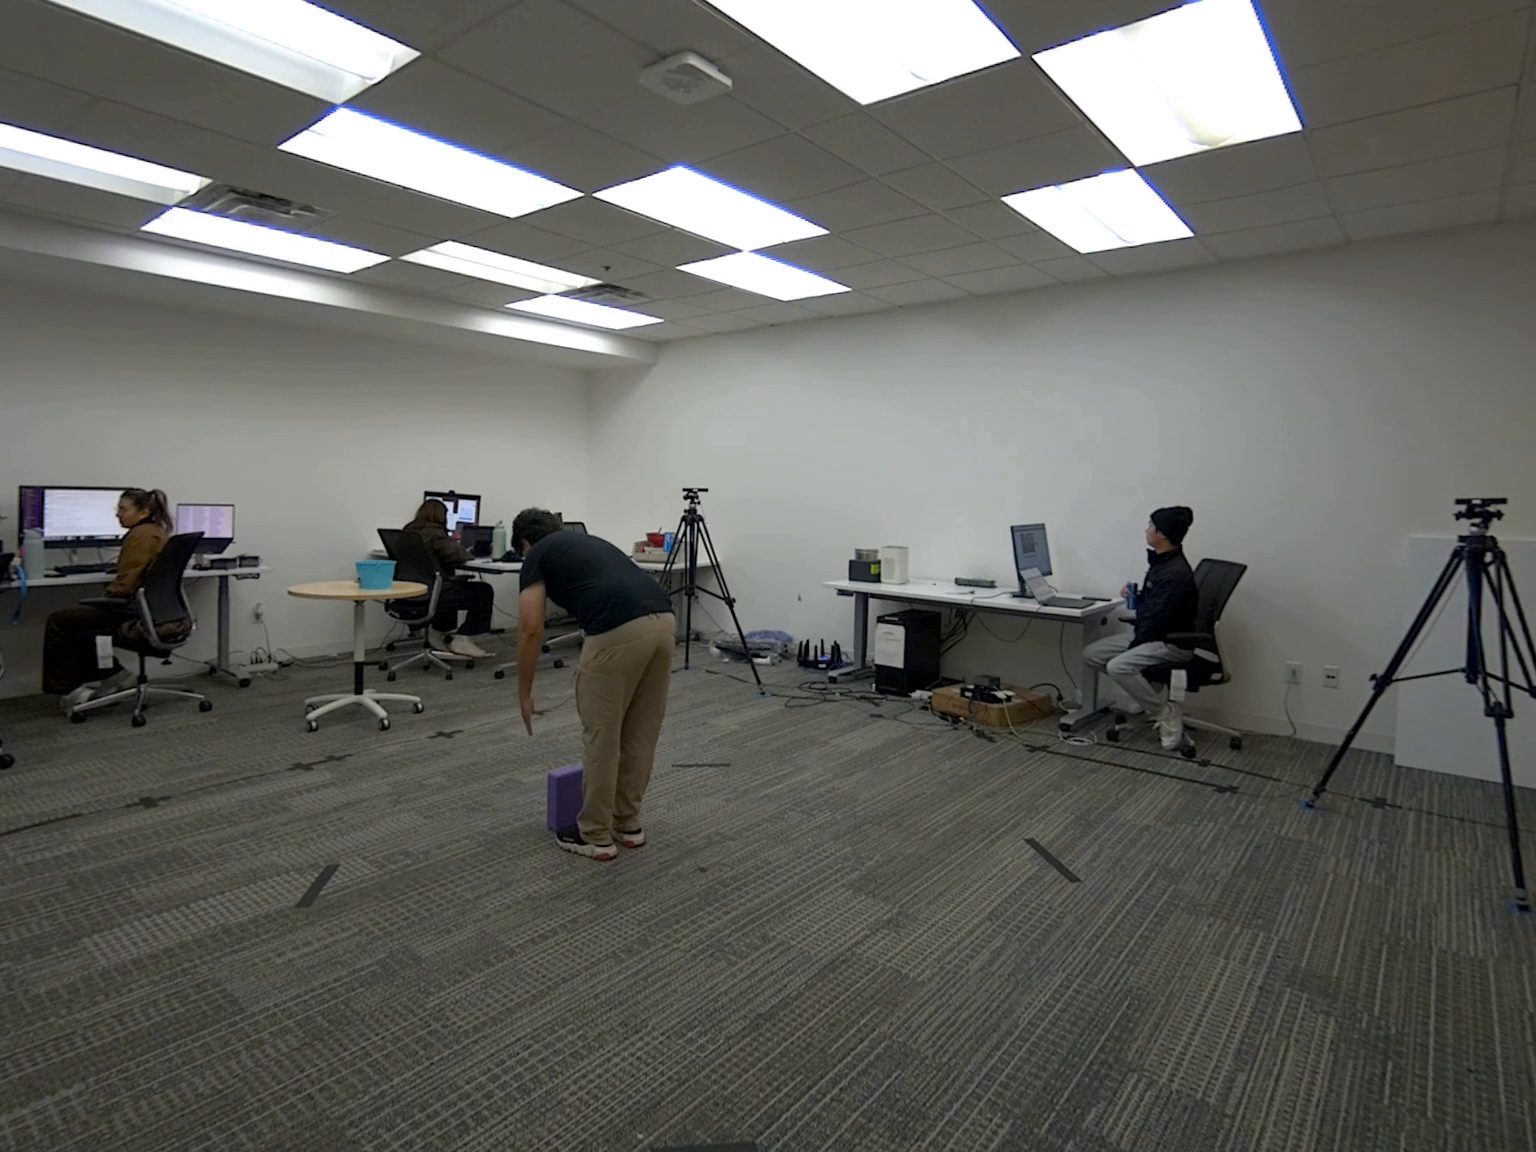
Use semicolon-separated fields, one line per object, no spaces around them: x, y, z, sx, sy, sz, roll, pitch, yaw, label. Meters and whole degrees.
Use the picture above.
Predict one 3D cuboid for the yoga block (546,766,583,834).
-0.838;0.903;3.488;0.079;0.228;0.144;6;5;42;yoga block
